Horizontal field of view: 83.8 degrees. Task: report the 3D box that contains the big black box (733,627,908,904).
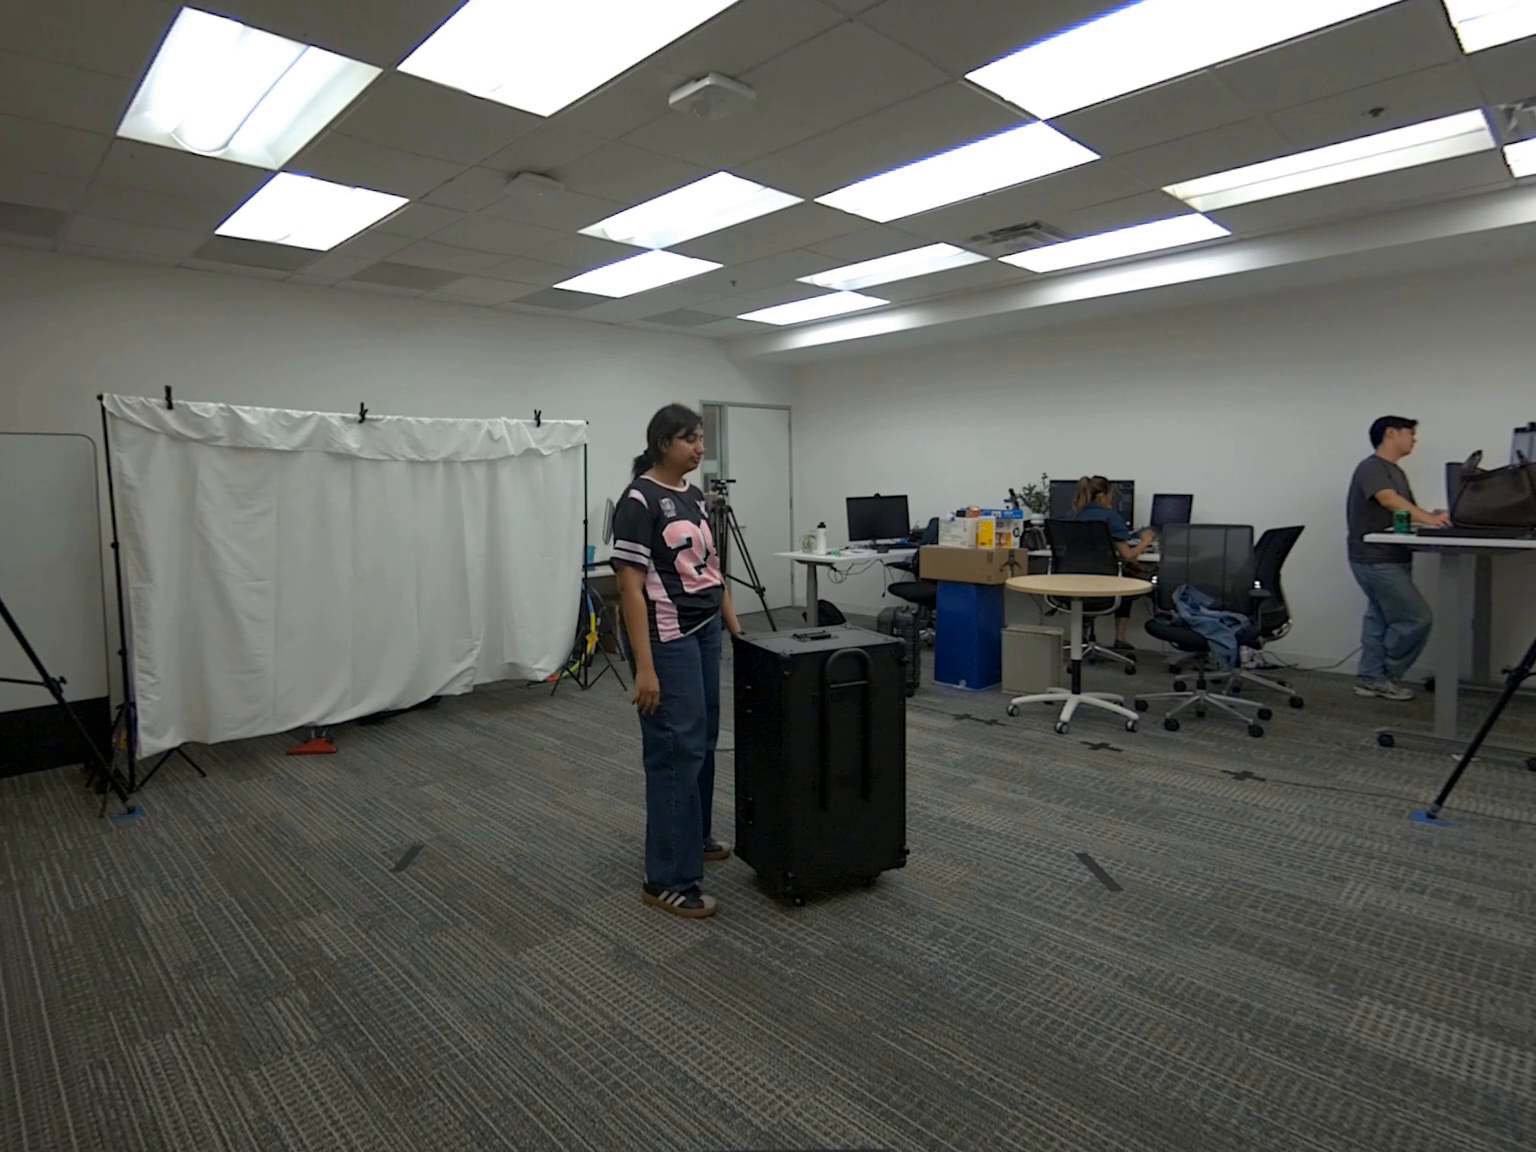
[{"bbox_3d":[0.183,0.635,2.948,0.512,0.865,0.395,-3,5,-27],"label":"big black box"}]
